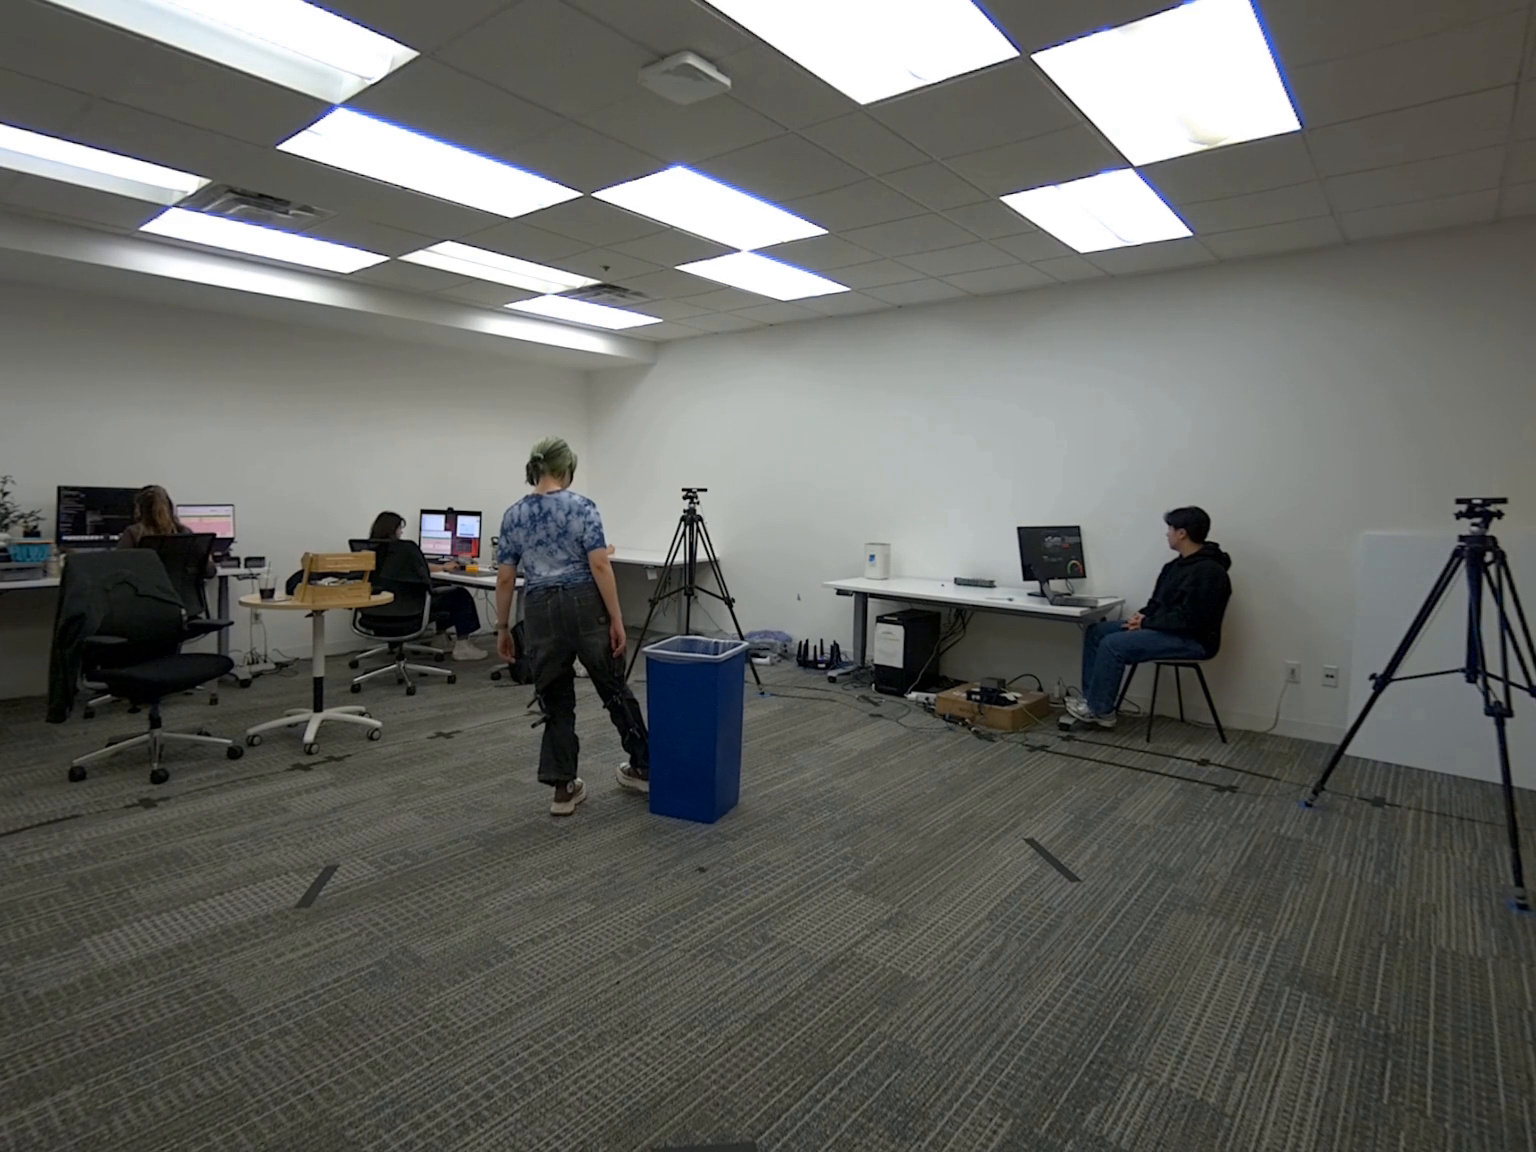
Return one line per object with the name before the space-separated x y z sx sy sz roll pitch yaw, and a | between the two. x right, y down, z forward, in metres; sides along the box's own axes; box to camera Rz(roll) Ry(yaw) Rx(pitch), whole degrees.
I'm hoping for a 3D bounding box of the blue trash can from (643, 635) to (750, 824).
blue trash can | -0.320 0.653 3.690 0.387 0.711 0.367 2 3 21
